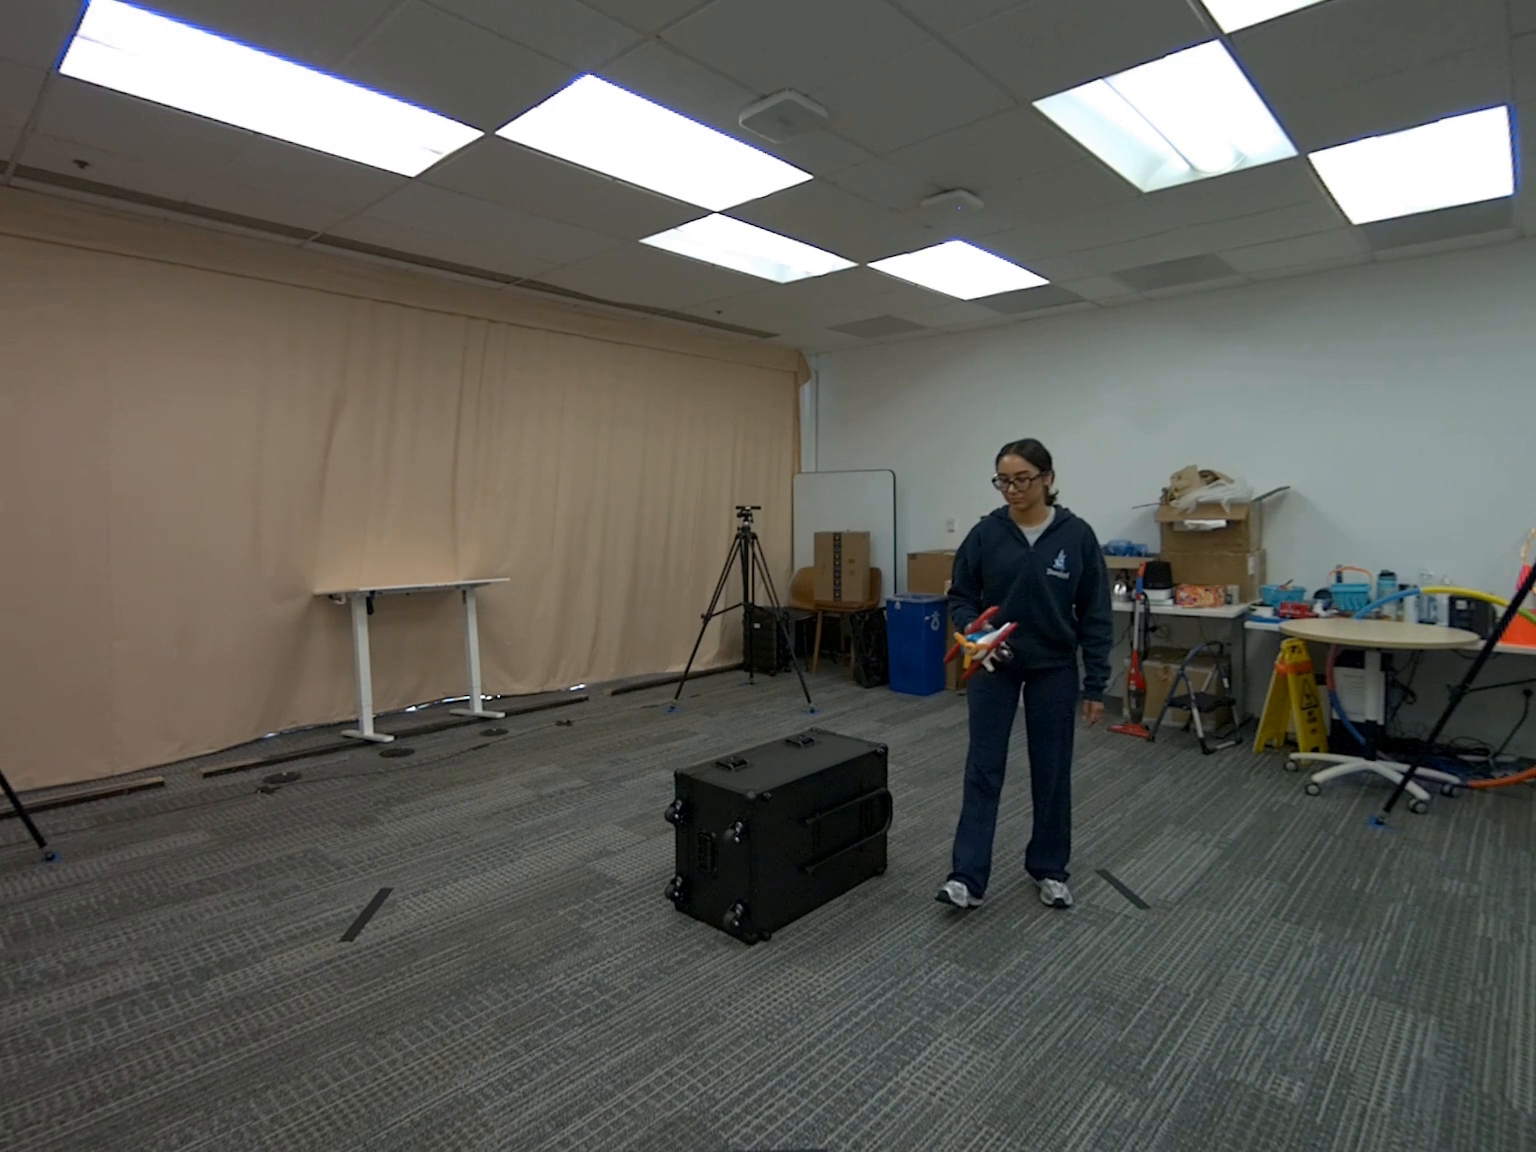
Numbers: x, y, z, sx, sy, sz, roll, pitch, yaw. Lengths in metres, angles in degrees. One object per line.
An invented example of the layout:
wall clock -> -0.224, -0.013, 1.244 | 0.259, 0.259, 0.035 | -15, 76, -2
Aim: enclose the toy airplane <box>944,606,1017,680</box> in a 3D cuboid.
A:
toy airplane -> 0.705, 0.229, 2.750 | 0.158, 0.251, 0.256 | 40, -1, 8
